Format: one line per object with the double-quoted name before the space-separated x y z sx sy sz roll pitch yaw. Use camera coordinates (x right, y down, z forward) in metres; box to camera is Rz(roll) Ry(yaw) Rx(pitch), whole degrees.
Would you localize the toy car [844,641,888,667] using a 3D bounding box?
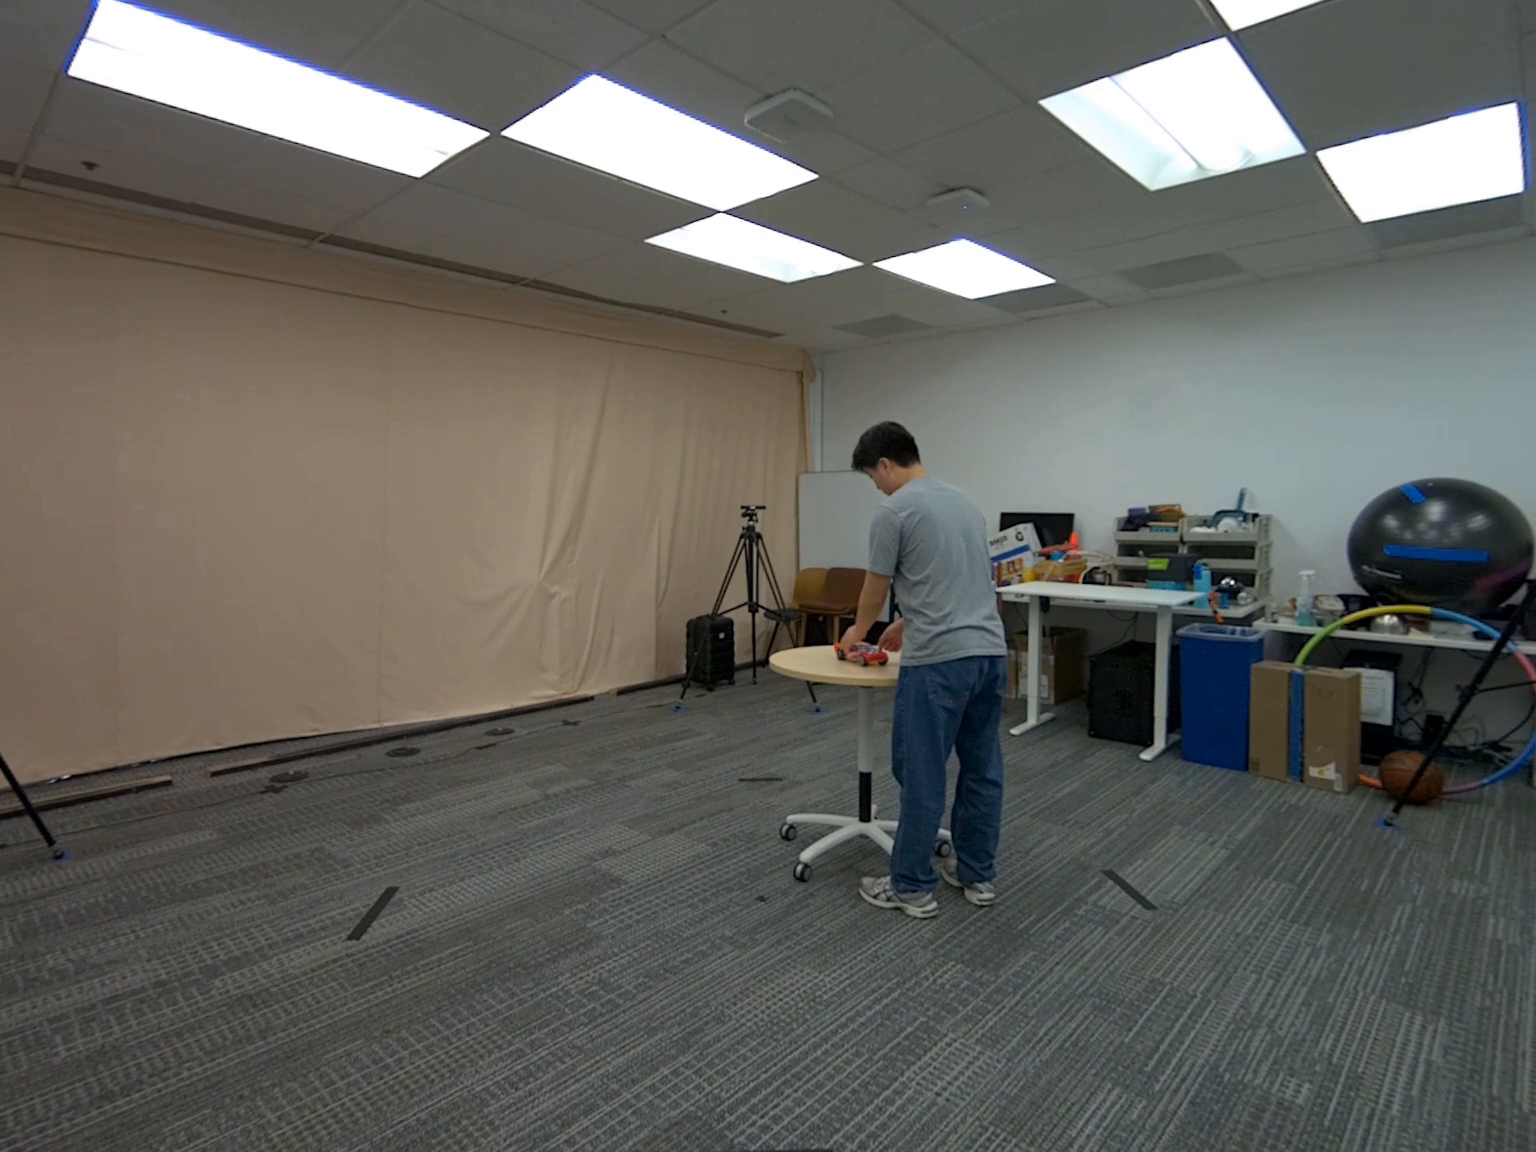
"toy car" 0.367 0.303 3.289 0.127 0.082 0.263 -2 16 -26
